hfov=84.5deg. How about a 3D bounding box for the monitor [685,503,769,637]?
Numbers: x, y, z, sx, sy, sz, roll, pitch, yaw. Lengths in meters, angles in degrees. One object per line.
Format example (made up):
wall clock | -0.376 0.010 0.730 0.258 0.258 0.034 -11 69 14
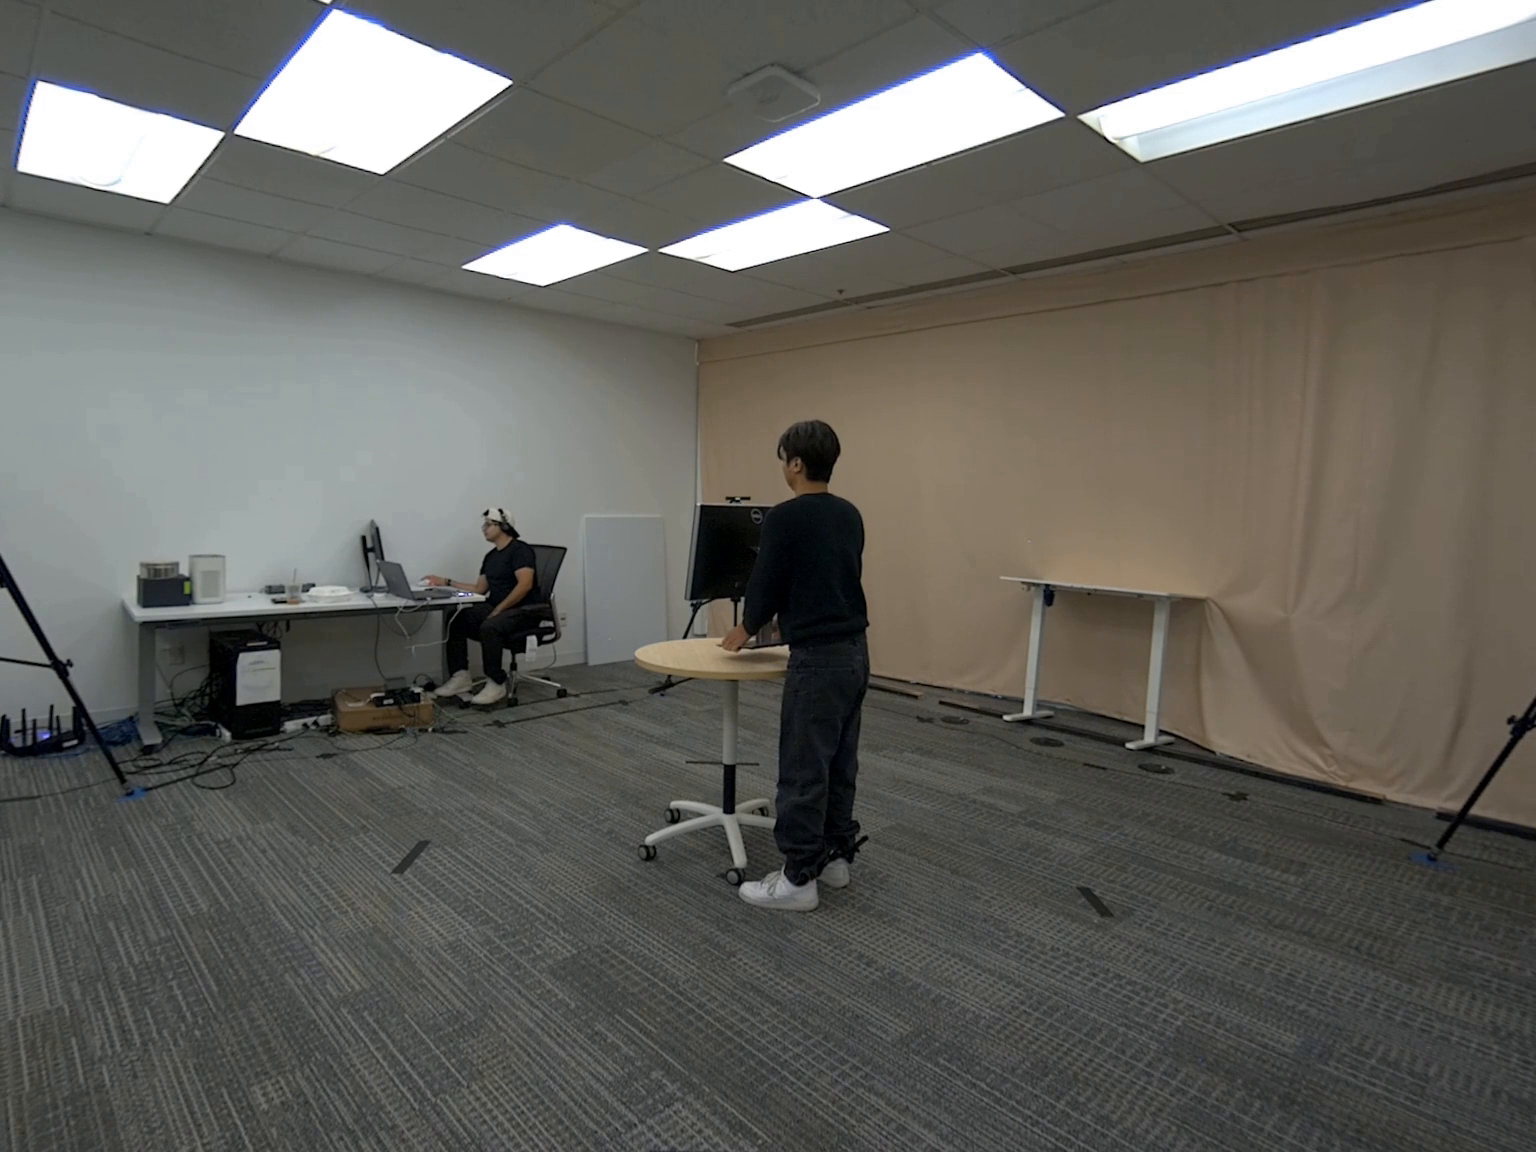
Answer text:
monitor | -0.058 -0.003 3.229 0.191 0.523 0.526 -4 -1 43
